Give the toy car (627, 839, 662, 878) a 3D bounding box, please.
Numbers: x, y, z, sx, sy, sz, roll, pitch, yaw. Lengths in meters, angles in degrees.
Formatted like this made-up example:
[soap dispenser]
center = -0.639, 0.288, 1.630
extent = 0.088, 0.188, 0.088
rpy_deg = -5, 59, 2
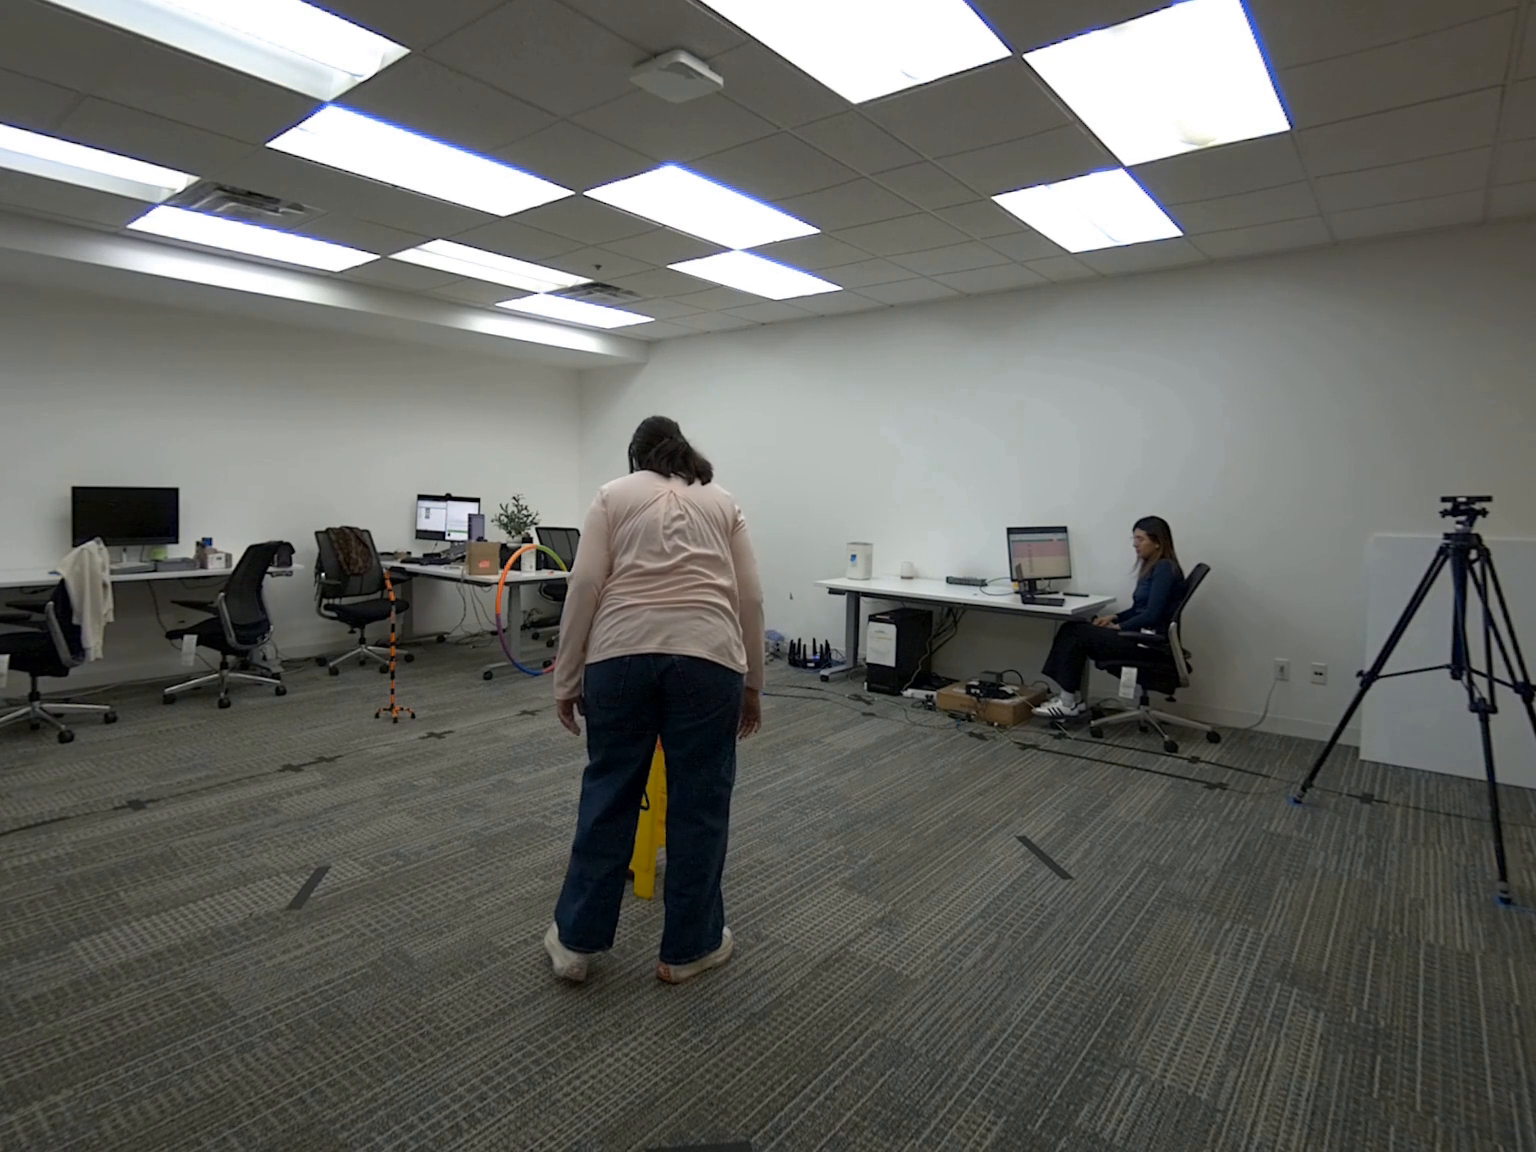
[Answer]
[toy car]
center = -0.534, 1.028, 3.097
extent = 0.261, 0.083, 0.126
rpy_deg = -6, -3, 40
